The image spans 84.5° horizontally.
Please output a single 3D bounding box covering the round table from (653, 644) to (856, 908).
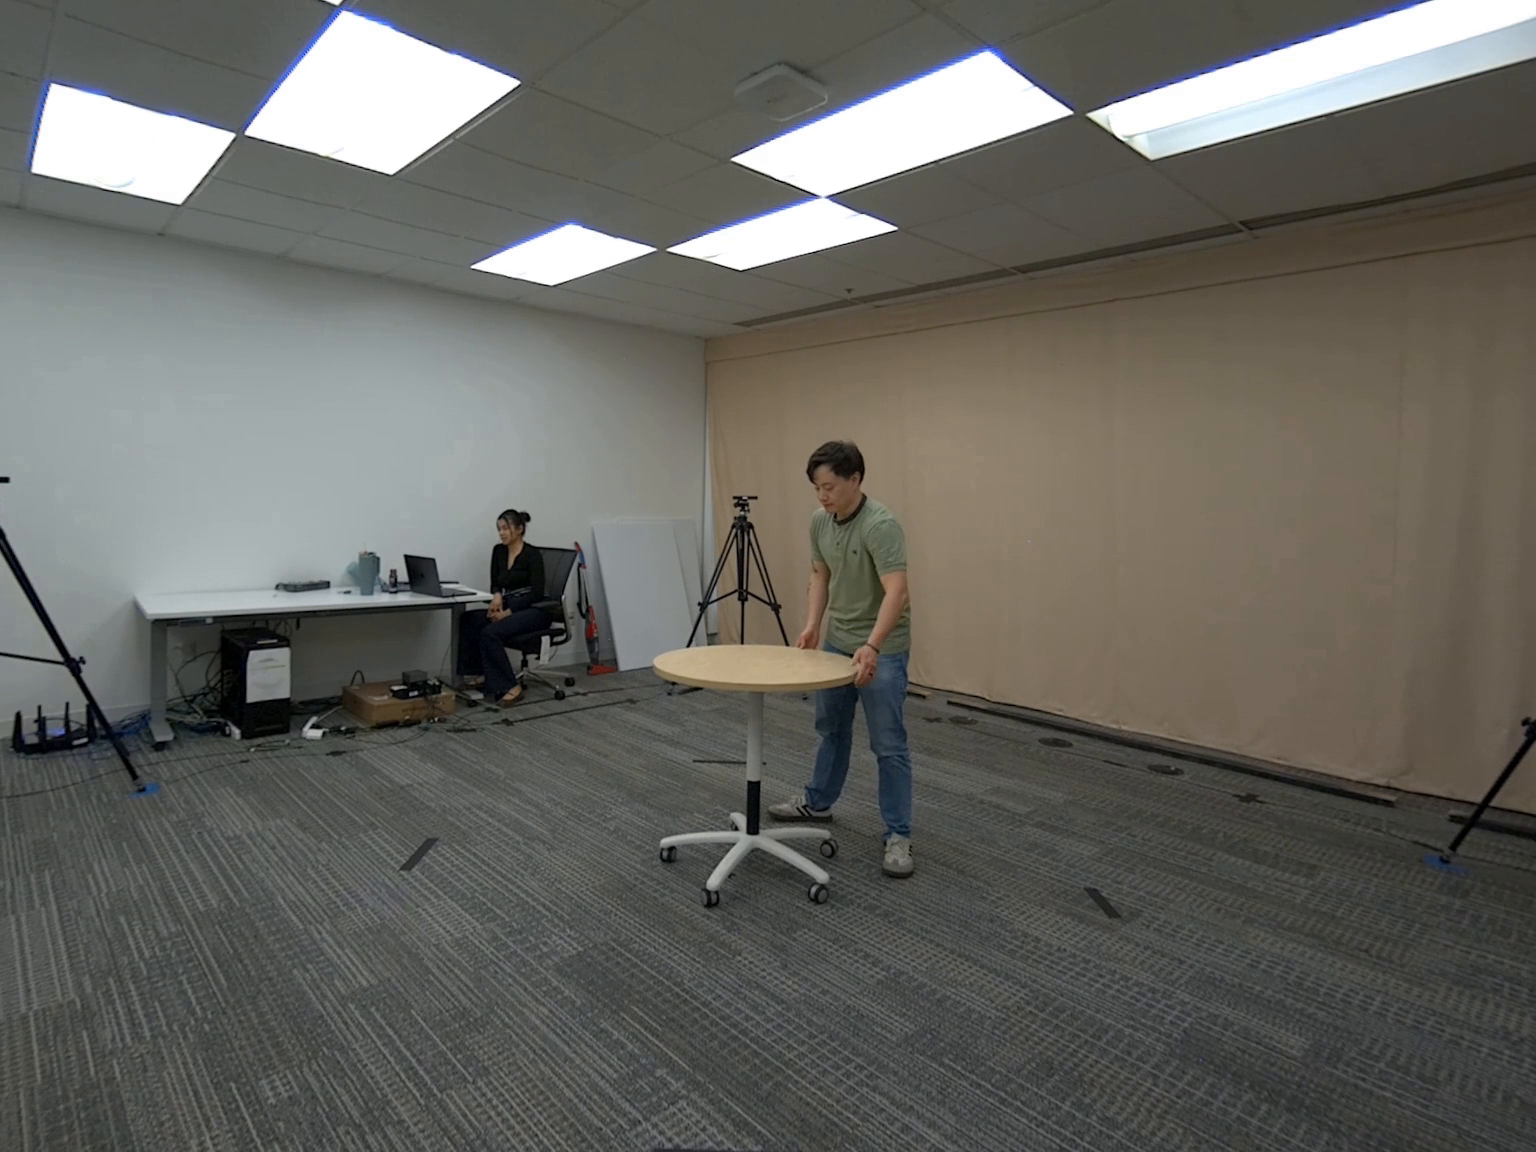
[{"bbox_3d":[-0.059,0.713,3.130,0.763,0.792,0.766,2,4,-1],"label":"round table"}]
